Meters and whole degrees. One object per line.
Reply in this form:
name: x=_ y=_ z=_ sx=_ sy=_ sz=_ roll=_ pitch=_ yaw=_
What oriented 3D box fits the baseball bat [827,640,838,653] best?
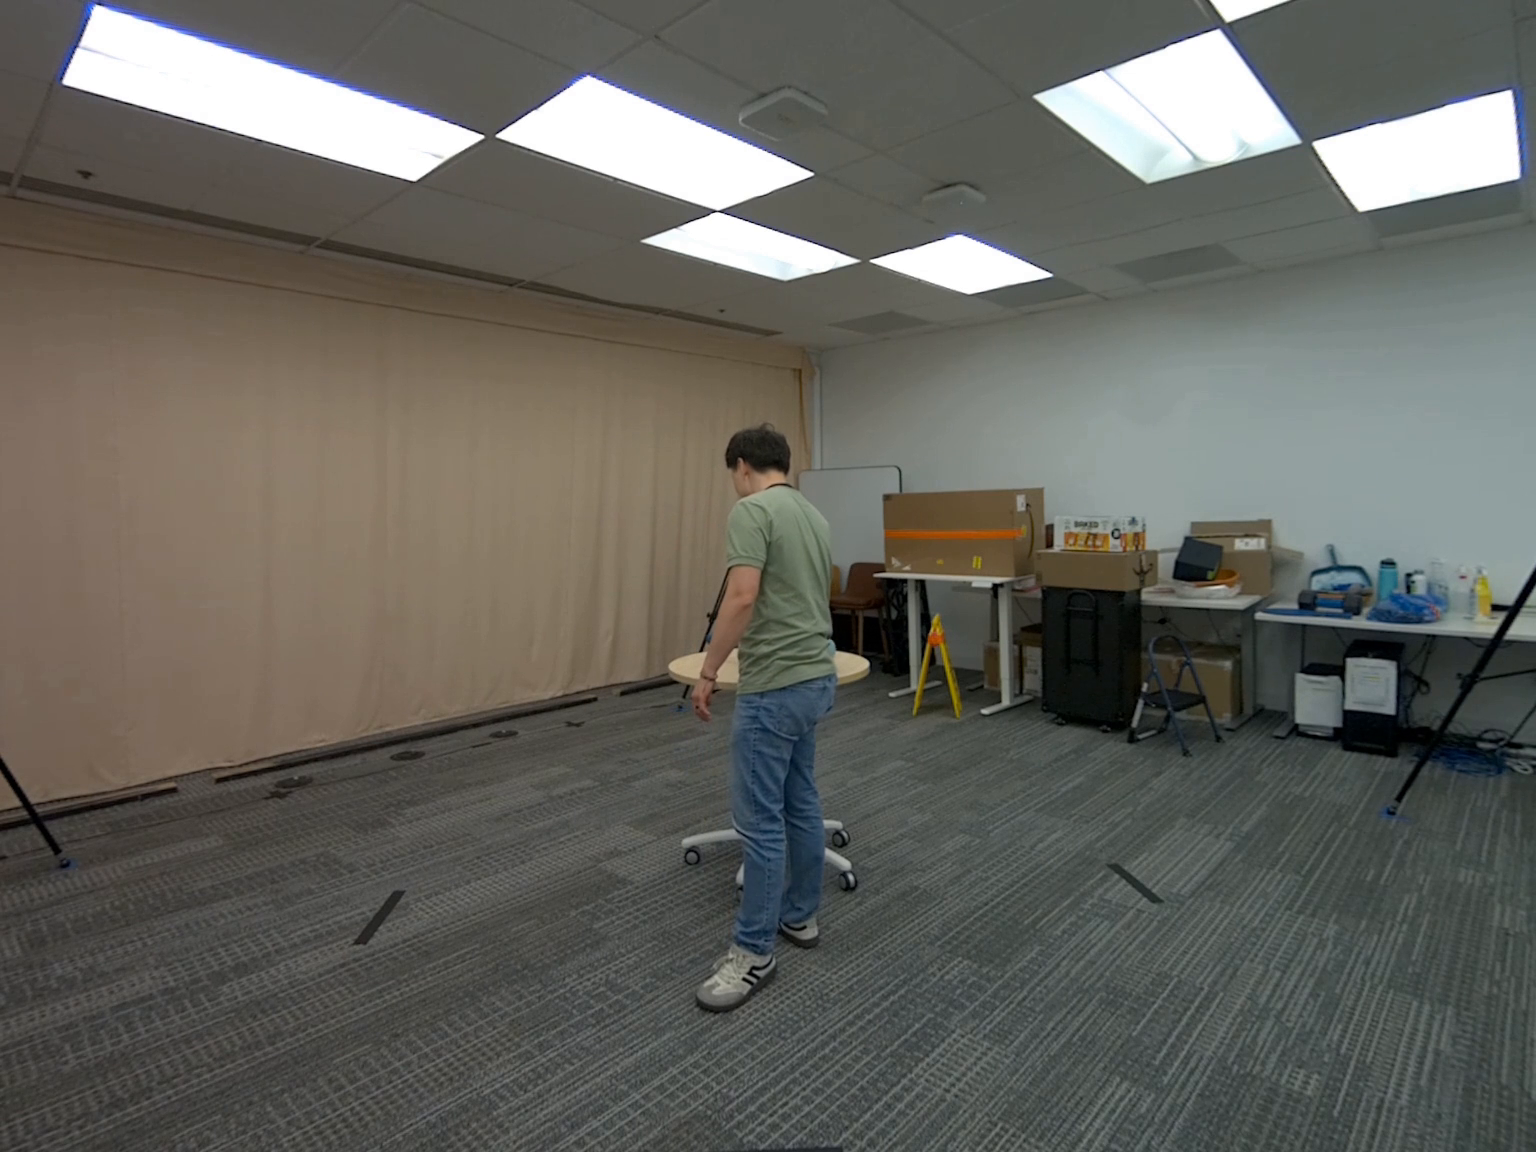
baseball bat: x=-0.006 y=0.262 z=3.159 sx=0.559 sy=0.089 sz=0.086 roll=1 pitch=4 yaw=32
